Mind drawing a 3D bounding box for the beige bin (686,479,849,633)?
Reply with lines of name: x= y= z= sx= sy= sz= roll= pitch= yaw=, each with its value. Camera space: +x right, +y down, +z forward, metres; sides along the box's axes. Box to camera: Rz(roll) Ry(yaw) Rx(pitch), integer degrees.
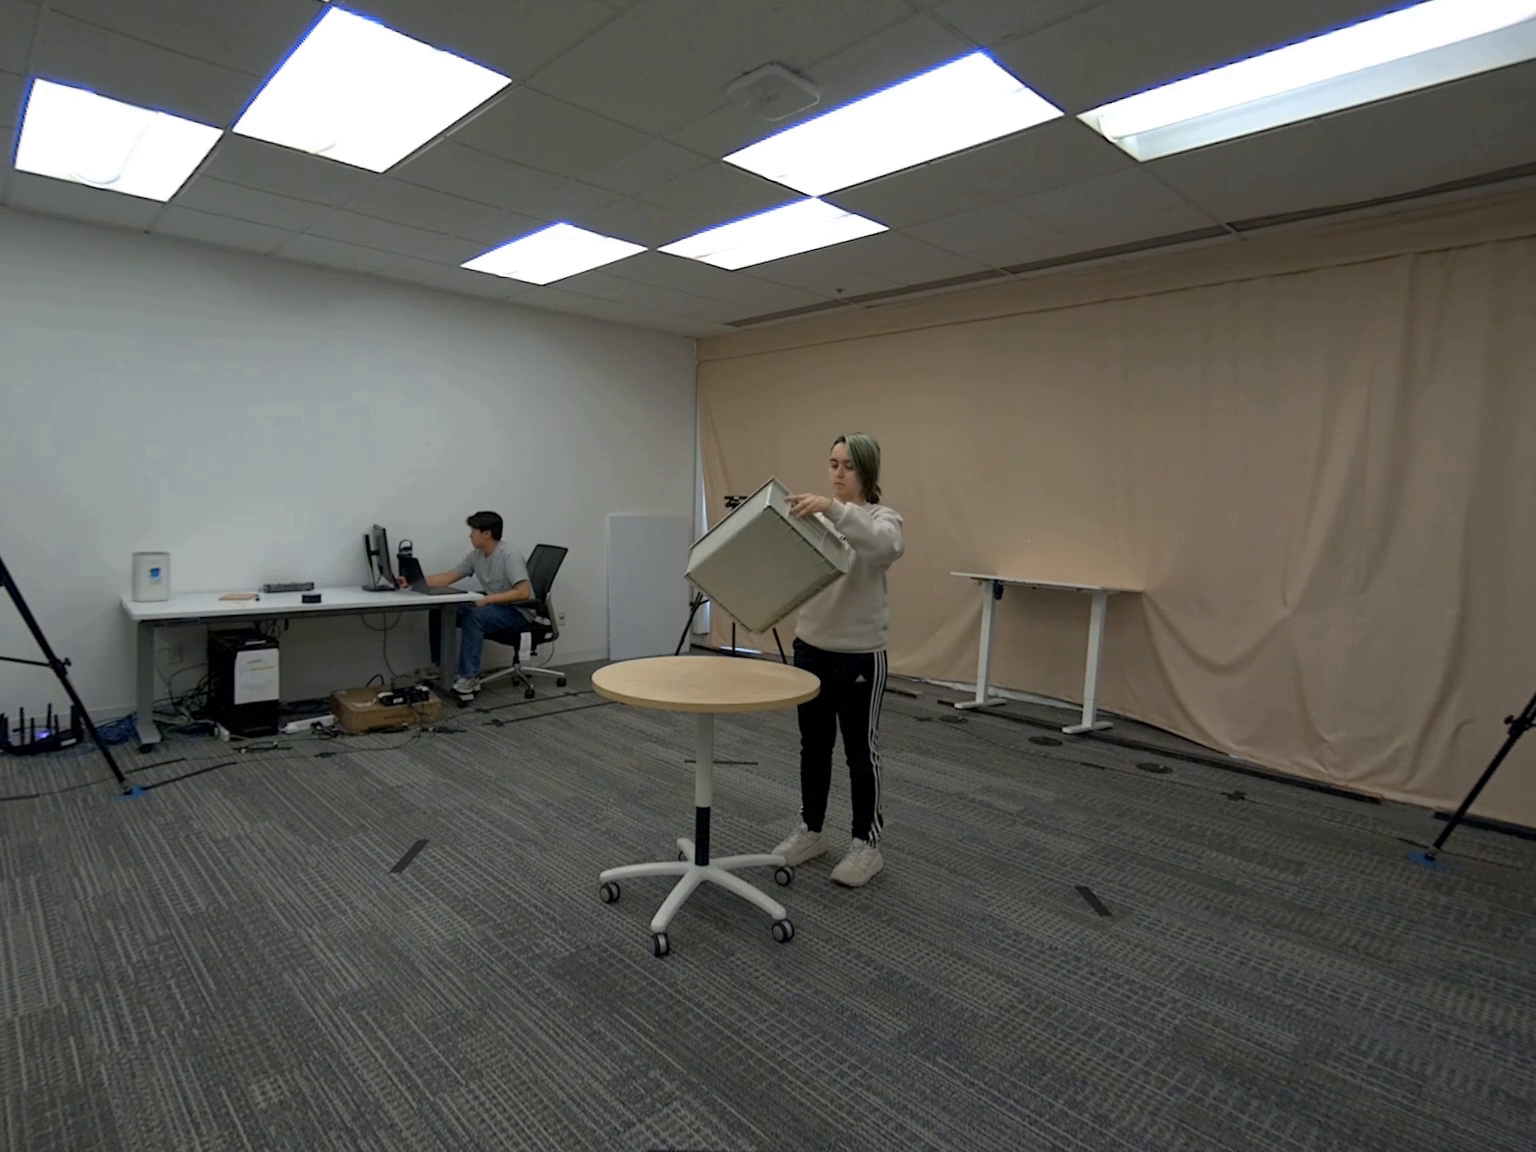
beige bin: x=-0.016 y=-0.042 z=2.830 sx=0.424 sy=0.371 sz=0.191 roll=-38 pitch=18 yaw=27
